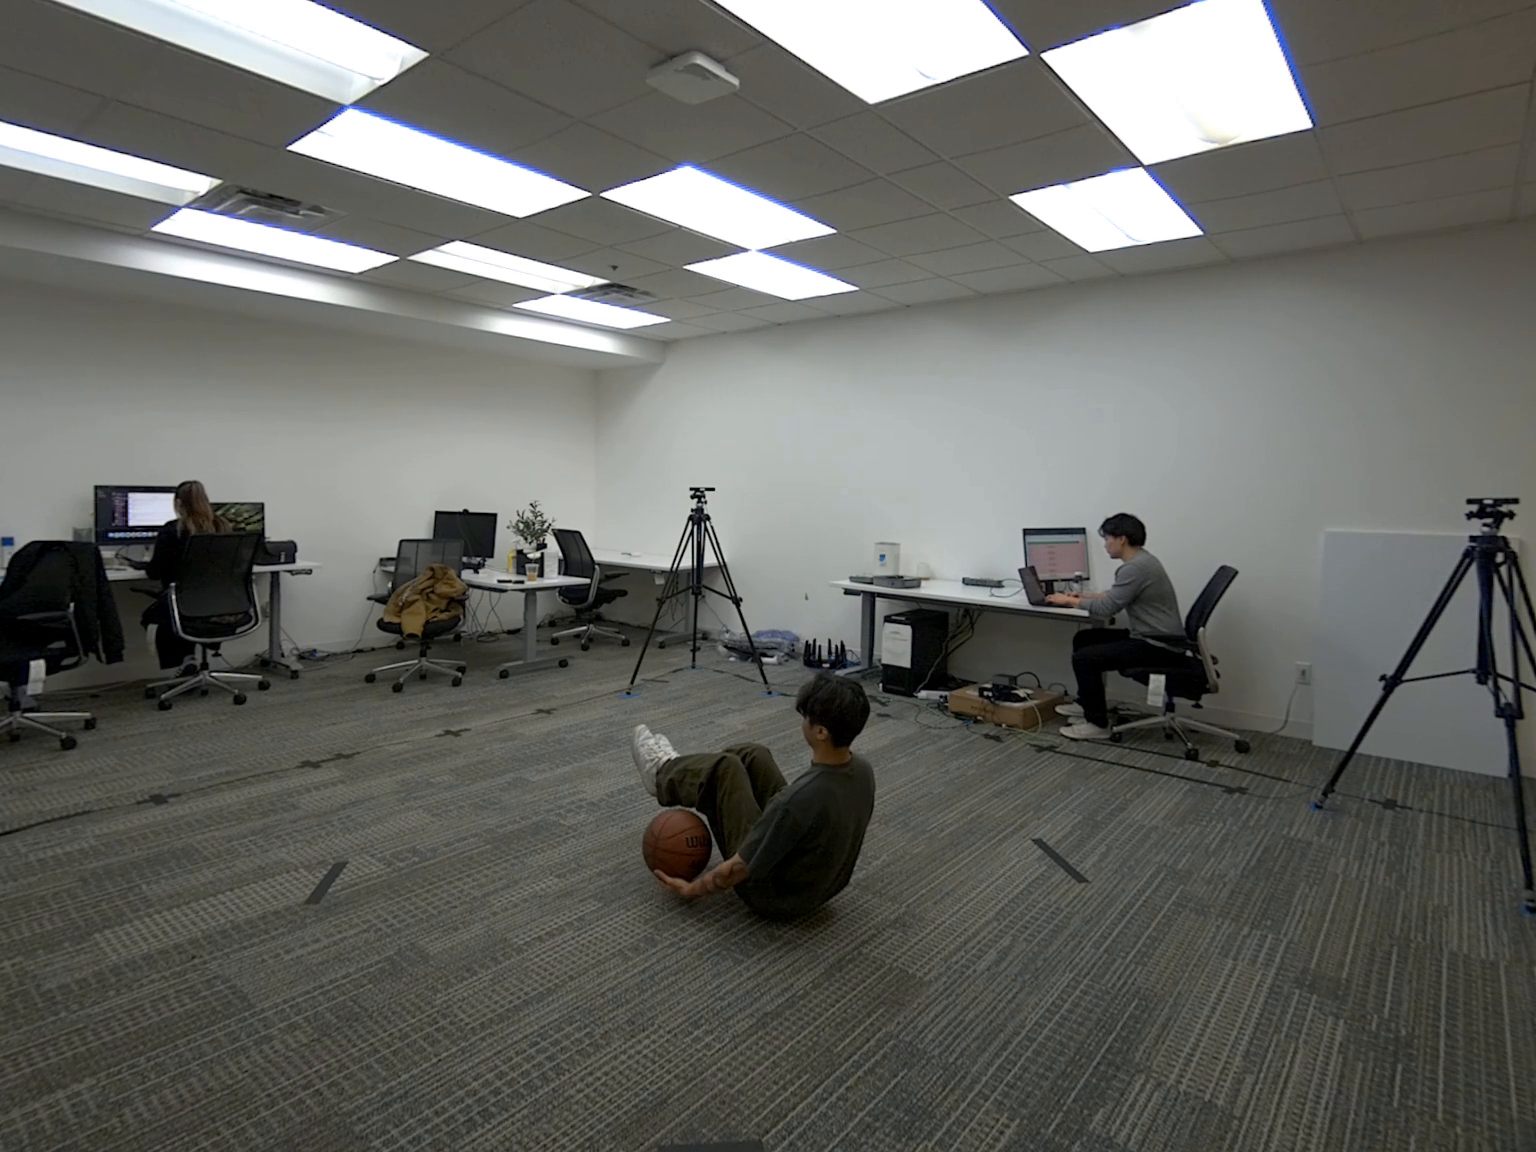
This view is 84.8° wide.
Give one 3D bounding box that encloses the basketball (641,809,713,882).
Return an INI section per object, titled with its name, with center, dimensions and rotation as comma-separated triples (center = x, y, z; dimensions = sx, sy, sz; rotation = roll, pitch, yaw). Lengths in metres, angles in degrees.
[basketball]
center = -0.315, 0.912, 2.898
dimensions = 0.235, 0.235, 0.237
rotation = 1, 4, -2
